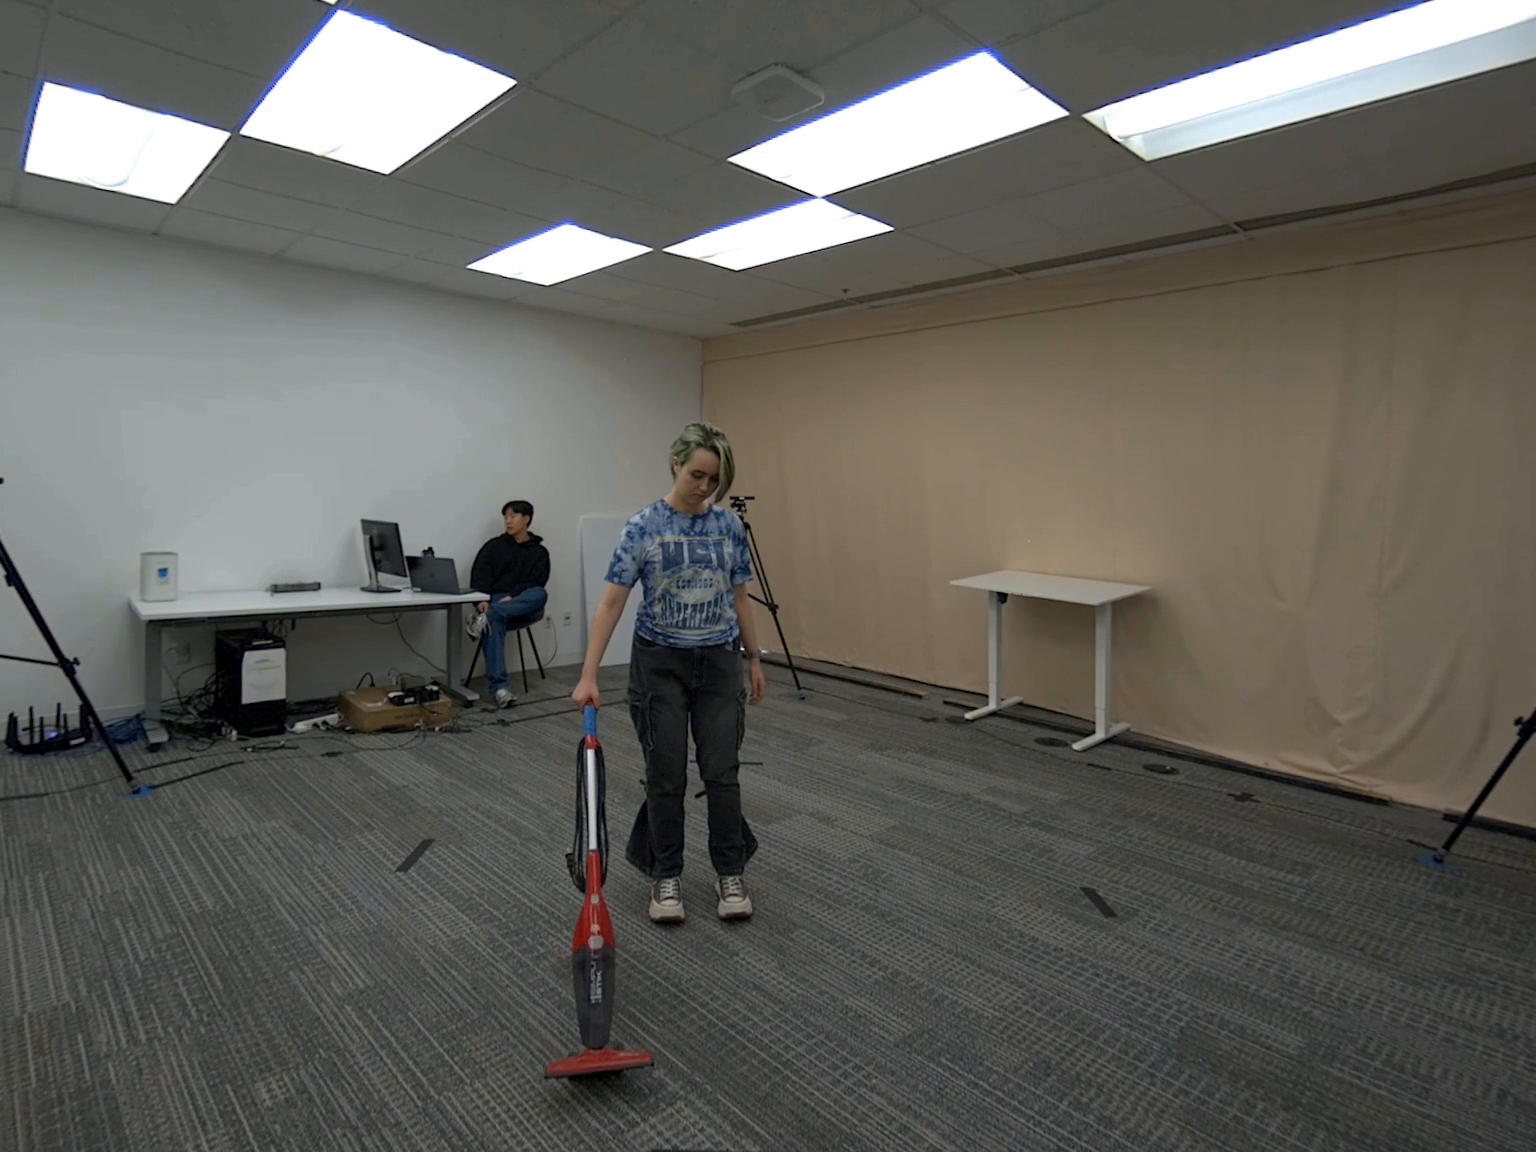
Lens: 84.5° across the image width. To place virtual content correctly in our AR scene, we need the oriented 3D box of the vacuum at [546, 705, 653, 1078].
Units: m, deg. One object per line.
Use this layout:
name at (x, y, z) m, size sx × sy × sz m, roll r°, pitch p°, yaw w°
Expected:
vacuum at (-0.492, 0.773, 2.314) m, size 0.250 × 1.077 × 0.142 m, roll 0°, pitch -41°, yaw -15°
